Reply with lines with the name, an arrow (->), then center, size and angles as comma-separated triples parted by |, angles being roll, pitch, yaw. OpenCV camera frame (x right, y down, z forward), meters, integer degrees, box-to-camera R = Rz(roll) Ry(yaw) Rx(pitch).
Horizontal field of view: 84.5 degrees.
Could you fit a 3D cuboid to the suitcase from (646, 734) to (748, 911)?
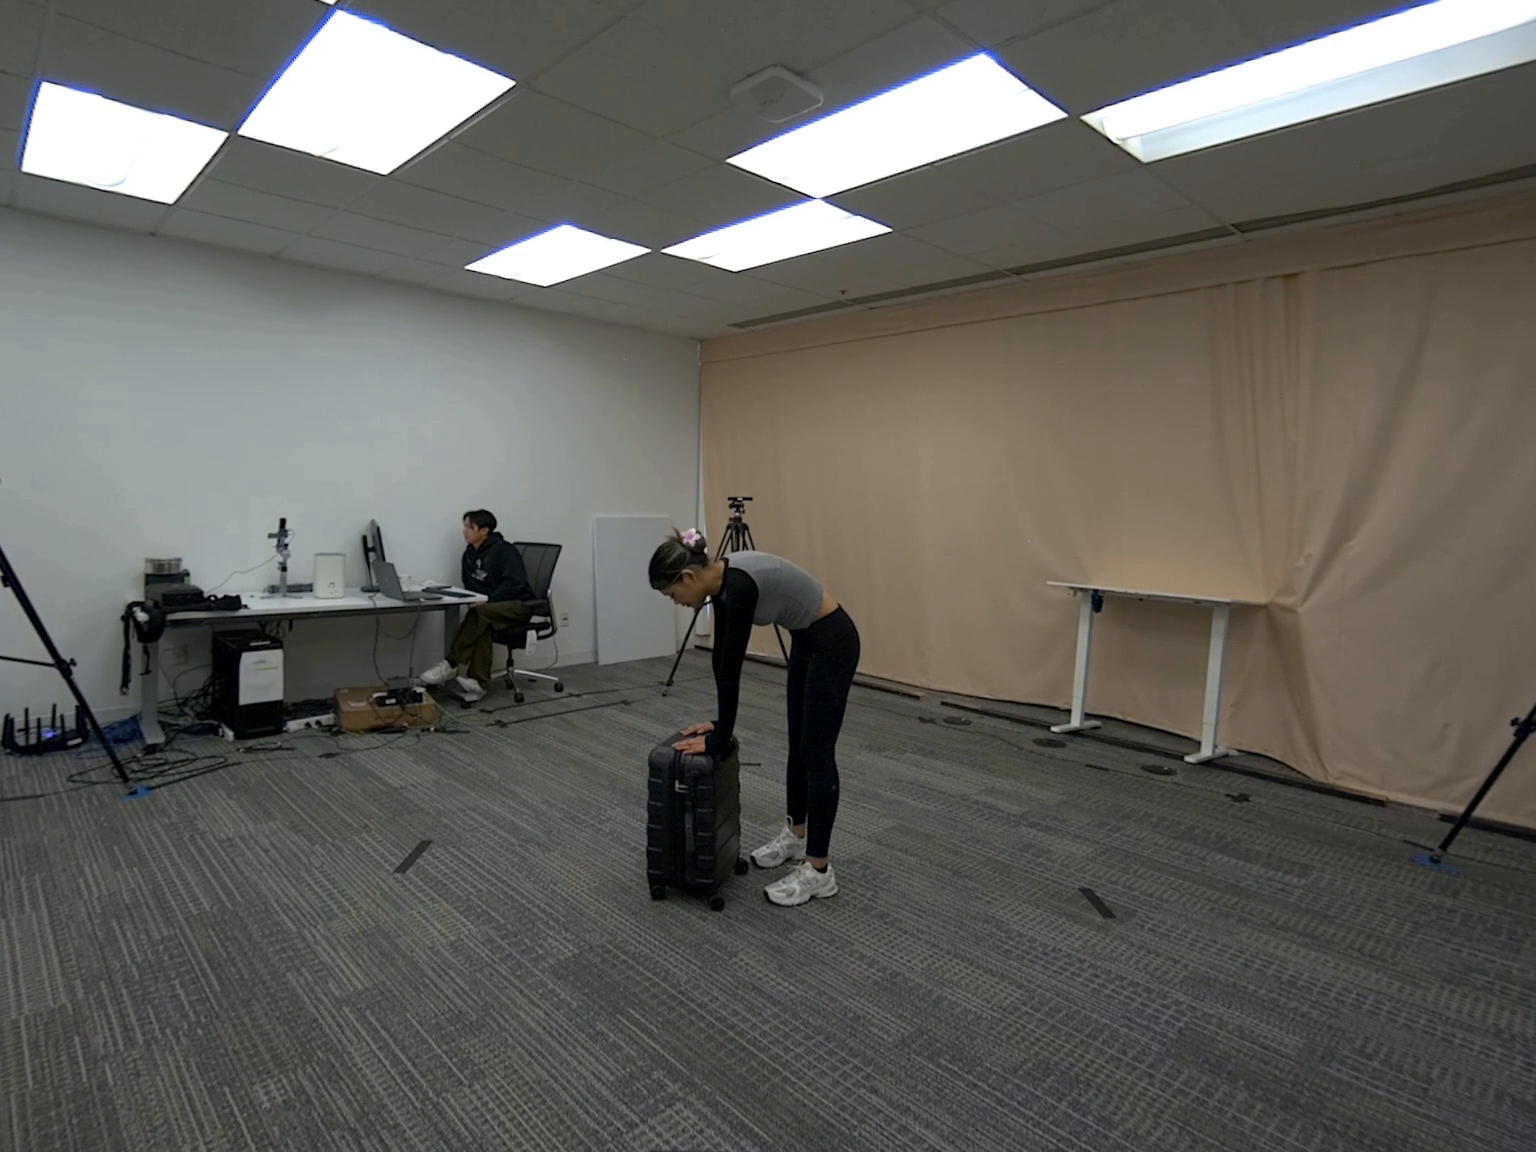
suitcase -> -0.262, 0.840, 3.005 | 0.252, 0.548, 0.371 | 1, 4, 18
